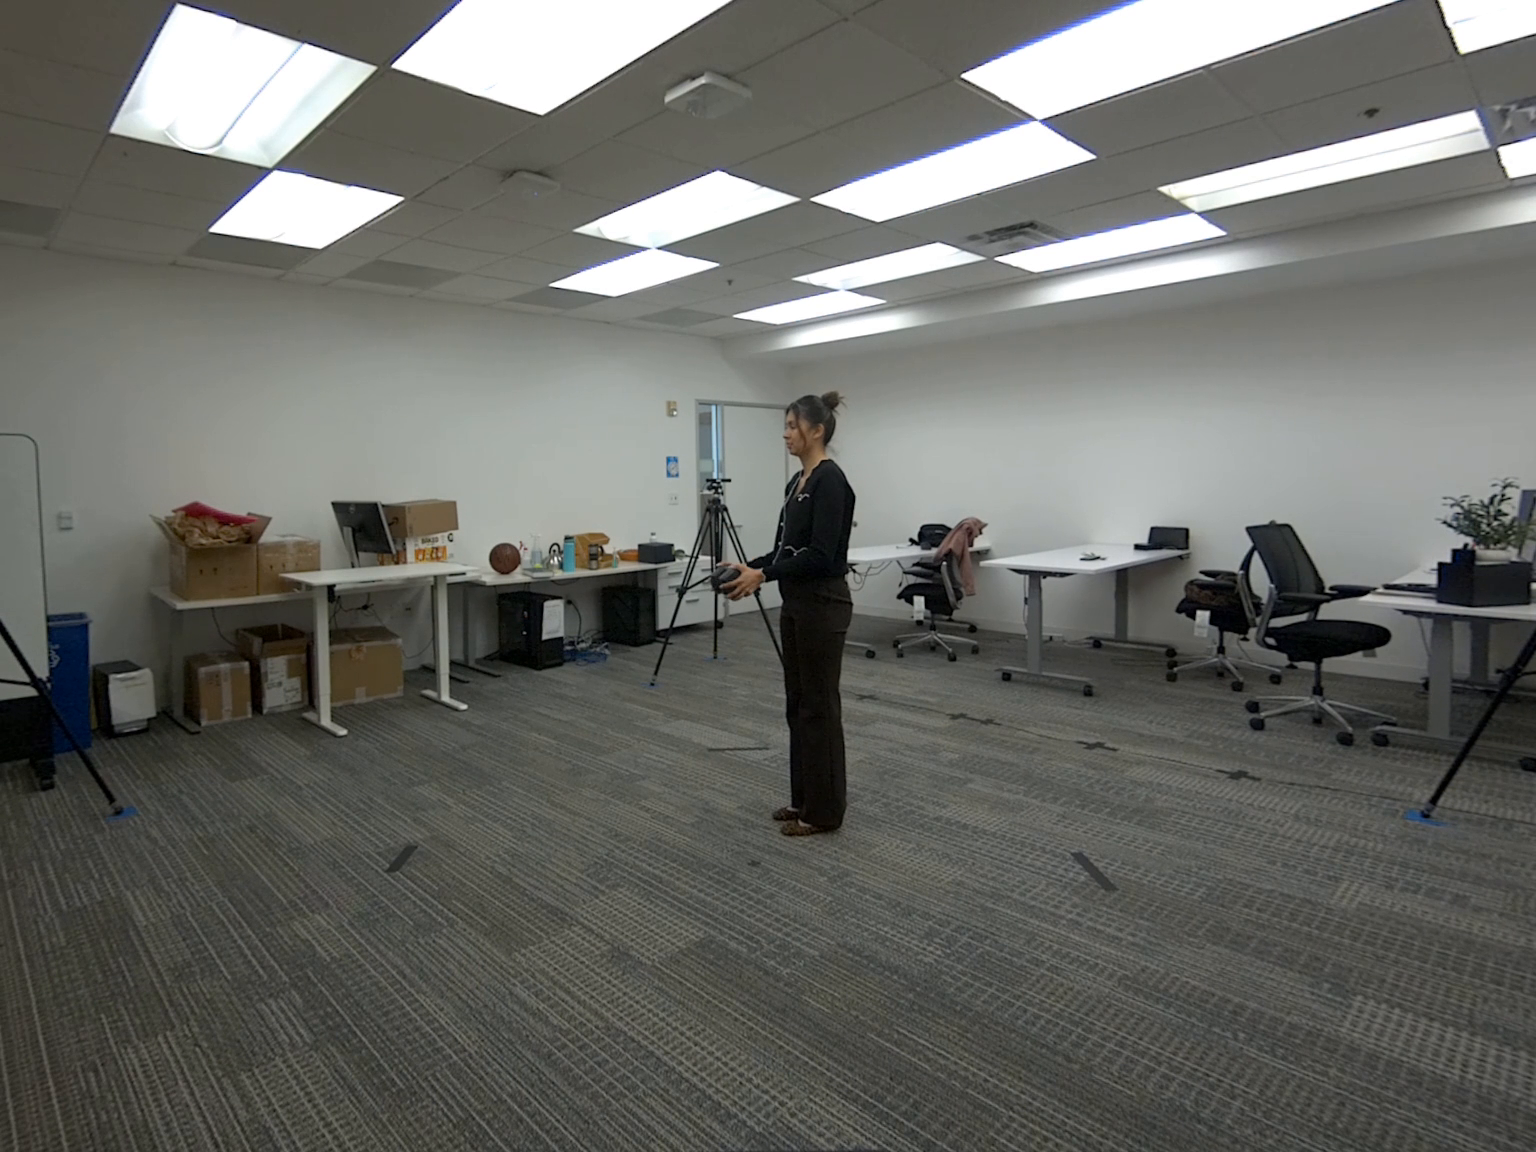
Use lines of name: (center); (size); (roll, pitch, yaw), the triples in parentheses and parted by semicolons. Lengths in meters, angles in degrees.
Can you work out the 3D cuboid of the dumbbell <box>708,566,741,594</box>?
dumbbell: (-0.146, 0.013, 3.379); (0.123, 0.107, 0.298); (-44, 12, -5)
